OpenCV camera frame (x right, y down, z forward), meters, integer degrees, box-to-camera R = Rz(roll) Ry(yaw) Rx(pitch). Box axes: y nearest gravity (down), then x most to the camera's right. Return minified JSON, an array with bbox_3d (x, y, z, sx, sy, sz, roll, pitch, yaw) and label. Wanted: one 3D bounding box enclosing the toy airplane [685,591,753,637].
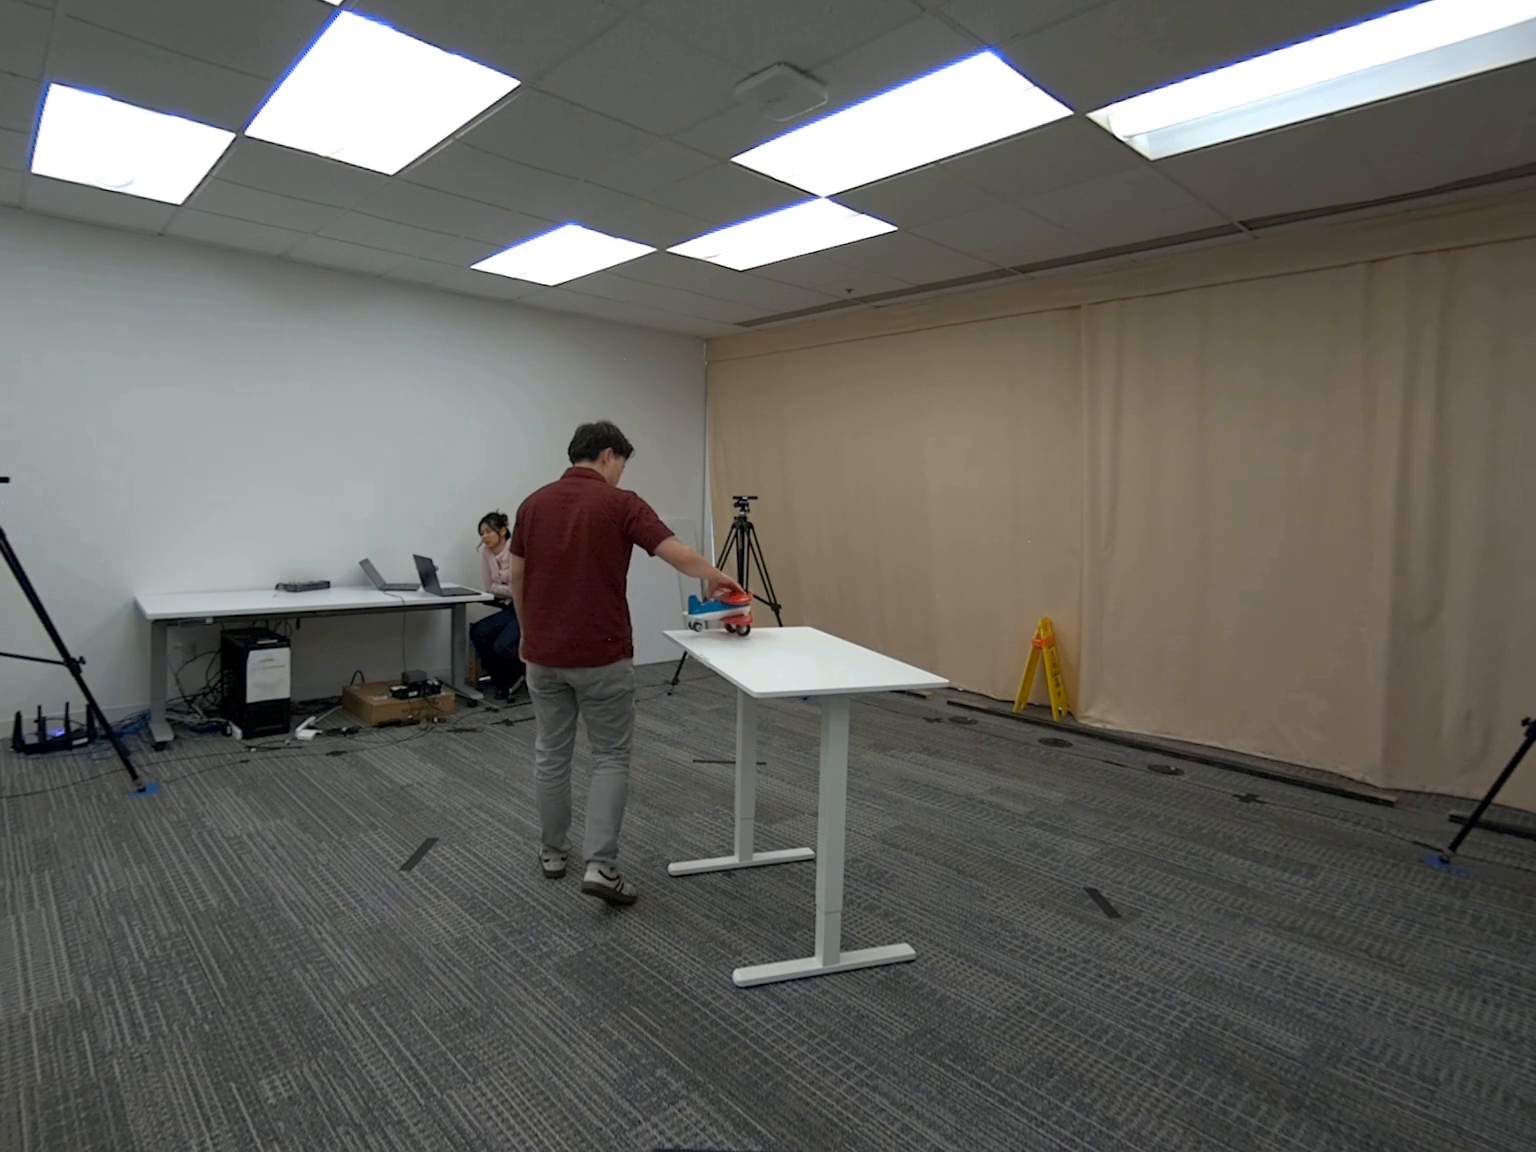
[{"bbox_3d":[-0.167,0.137,3.072,0.257,0.156,0.253,9,1,31],"label":"toy airplane"}]
